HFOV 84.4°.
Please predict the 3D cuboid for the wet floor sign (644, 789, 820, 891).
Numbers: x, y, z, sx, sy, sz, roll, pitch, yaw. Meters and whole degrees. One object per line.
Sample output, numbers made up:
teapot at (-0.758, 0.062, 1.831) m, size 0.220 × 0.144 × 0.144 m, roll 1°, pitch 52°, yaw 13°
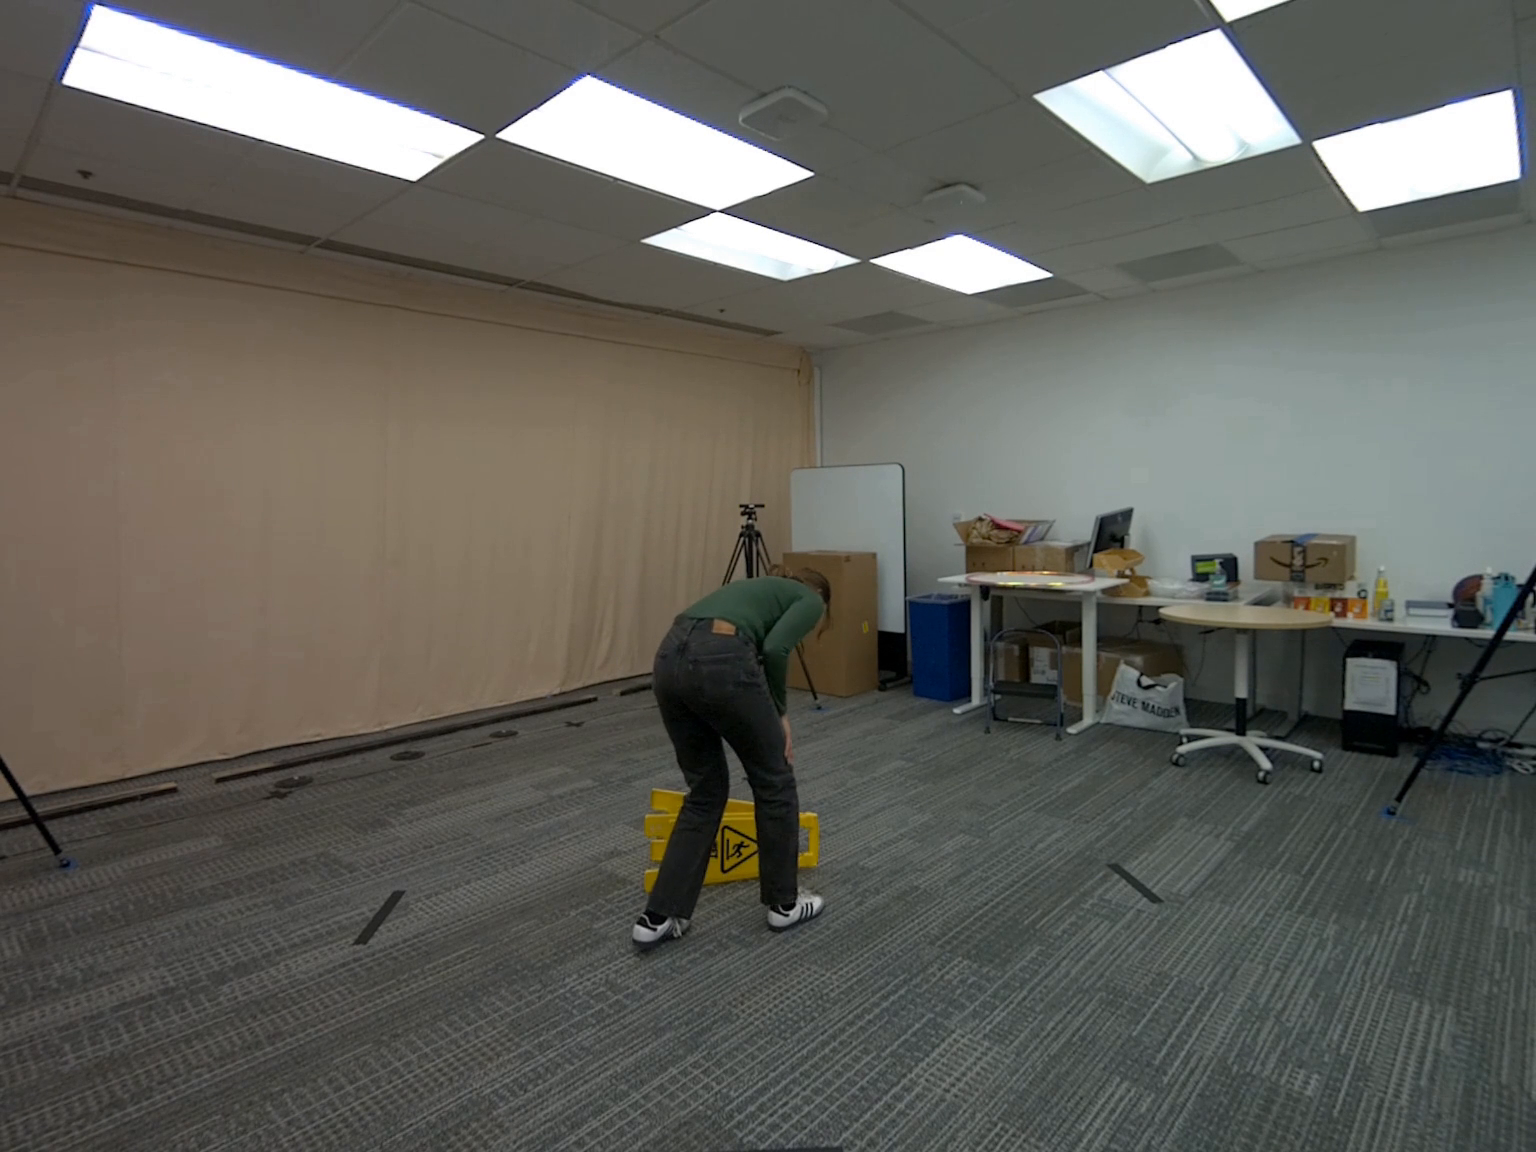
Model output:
wet floor sign at (-0.127, 0.992, 3.185) m, size 0.645 × 0.282 × 0.290 m, roll 1°, pitch 3°, yaw -1°
